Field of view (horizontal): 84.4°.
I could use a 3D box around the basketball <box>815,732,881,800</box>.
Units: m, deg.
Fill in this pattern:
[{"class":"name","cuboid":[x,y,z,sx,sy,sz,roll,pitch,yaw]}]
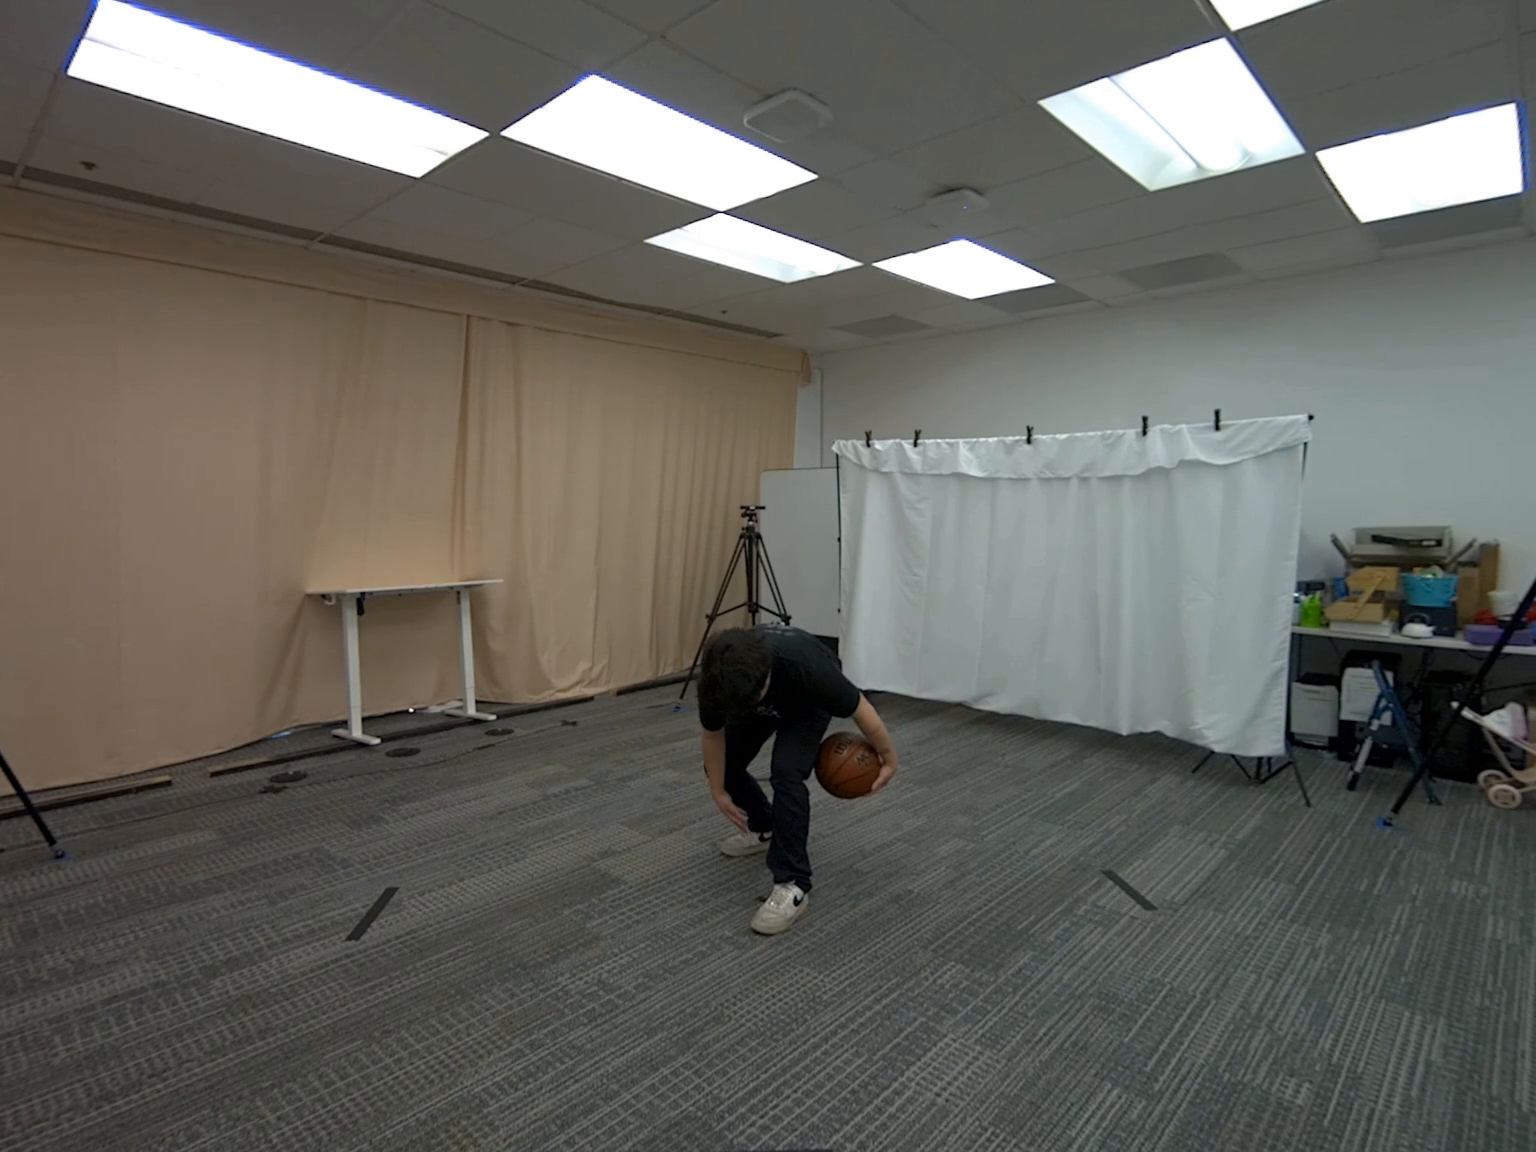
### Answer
[{"class":"basketball","cuboid":[0.285,0.685,3.045,0.236,0.235,0.237,0,4,-2]}]
